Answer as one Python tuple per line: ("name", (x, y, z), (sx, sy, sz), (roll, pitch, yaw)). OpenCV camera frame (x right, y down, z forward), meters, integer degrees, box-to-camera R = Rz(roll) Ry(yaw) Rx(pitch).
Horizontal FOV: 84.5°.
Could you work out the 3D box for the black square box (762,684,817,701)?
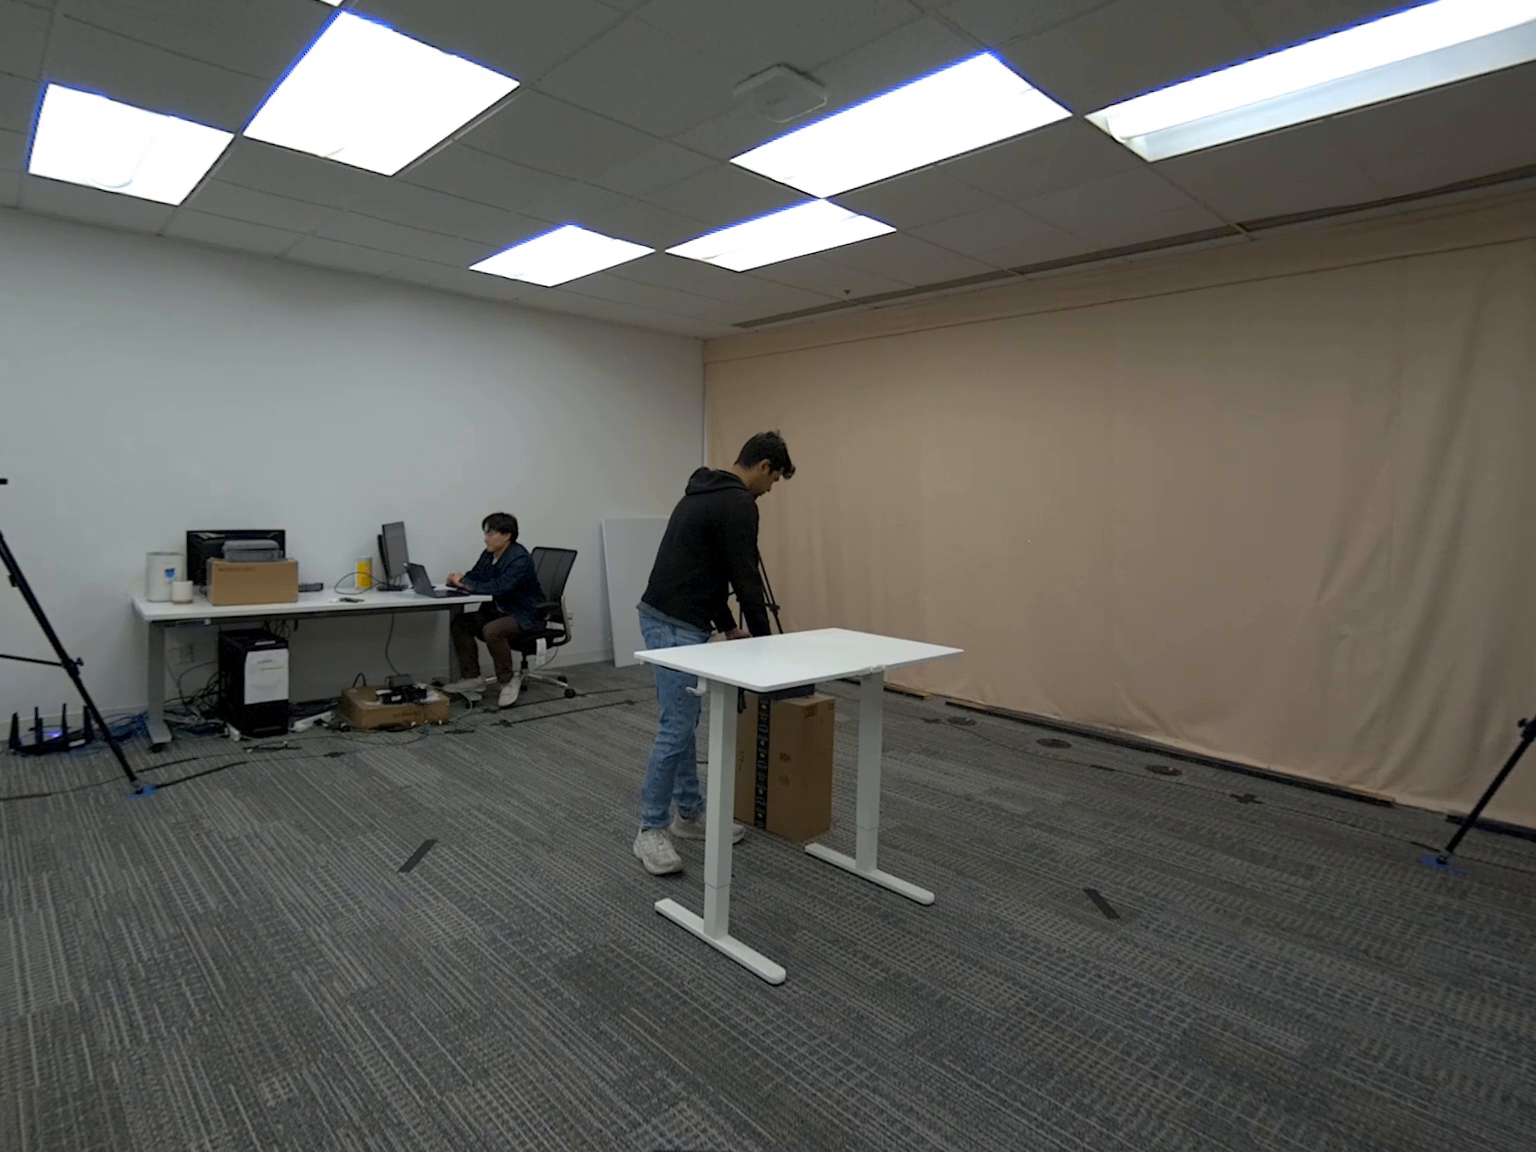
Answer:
("black square box", (0.046, 0.418, 3.623), (0.212, 0.155, 0.234), (-1, 6, -37))
